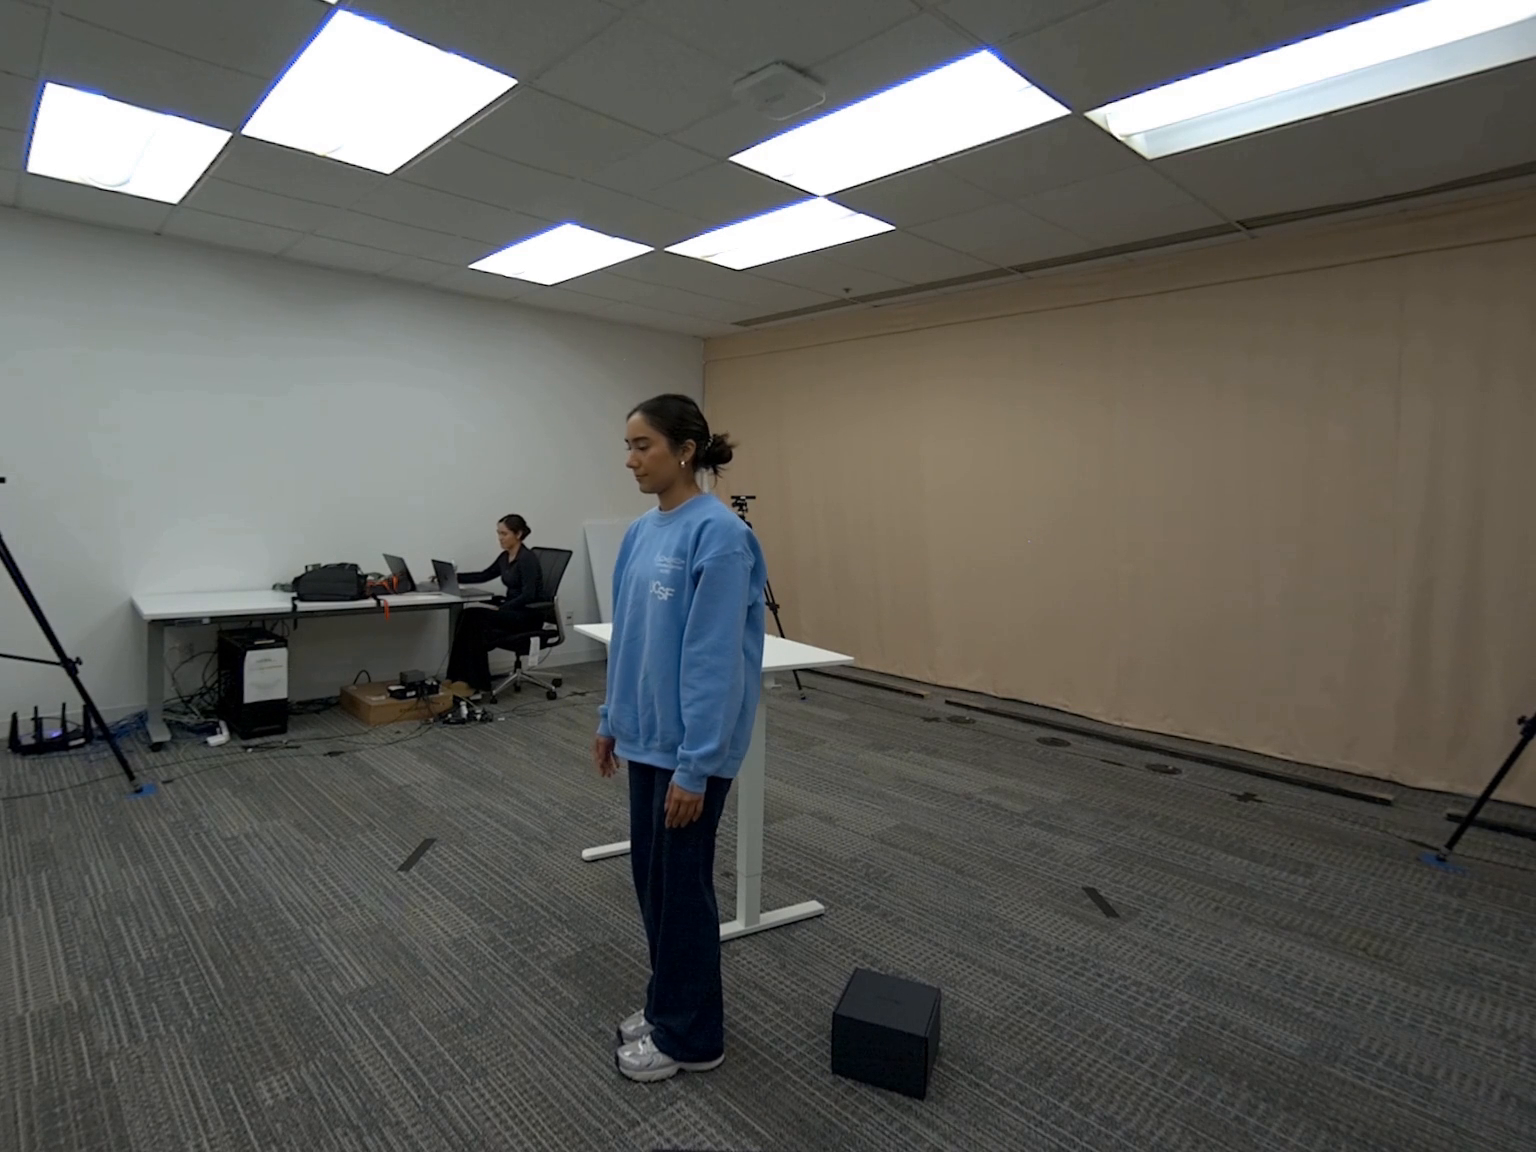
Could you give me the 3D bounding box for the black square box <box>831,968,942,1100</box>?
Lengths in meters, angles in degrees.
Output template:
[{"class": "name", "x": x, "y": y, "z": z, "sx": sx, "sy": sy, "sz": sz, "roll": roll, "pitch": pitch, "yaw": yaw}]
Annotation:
[{"class": "black square box", "x": 0.294, "y": 1.127, "z": 2.089, "sx": 0.232, "sy": 0.155, "sz": 0.214, "roll": 3, "pitch": 5, "yaw": 21}]
